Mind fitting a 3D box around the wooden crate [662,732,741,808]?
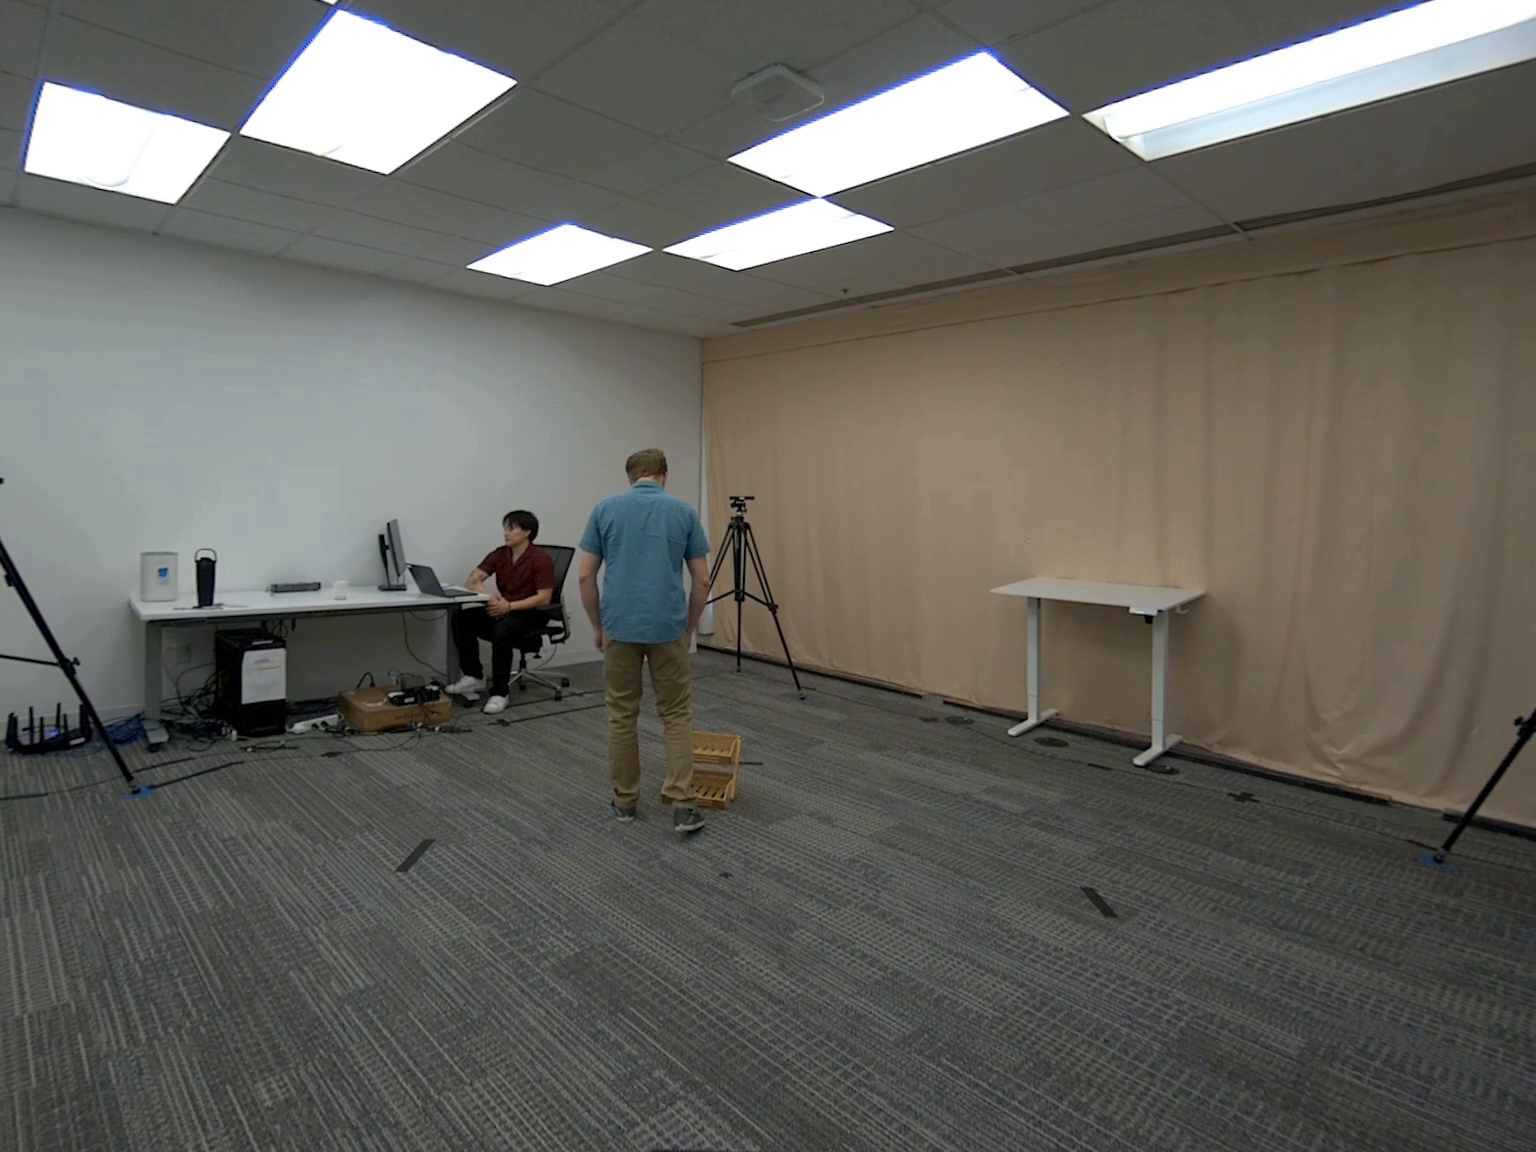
[{"bbox_3d":[-0.319,0.892,3.922,0.328,0.273,0.299,2,3,12],"label":"wooden crate"}]
